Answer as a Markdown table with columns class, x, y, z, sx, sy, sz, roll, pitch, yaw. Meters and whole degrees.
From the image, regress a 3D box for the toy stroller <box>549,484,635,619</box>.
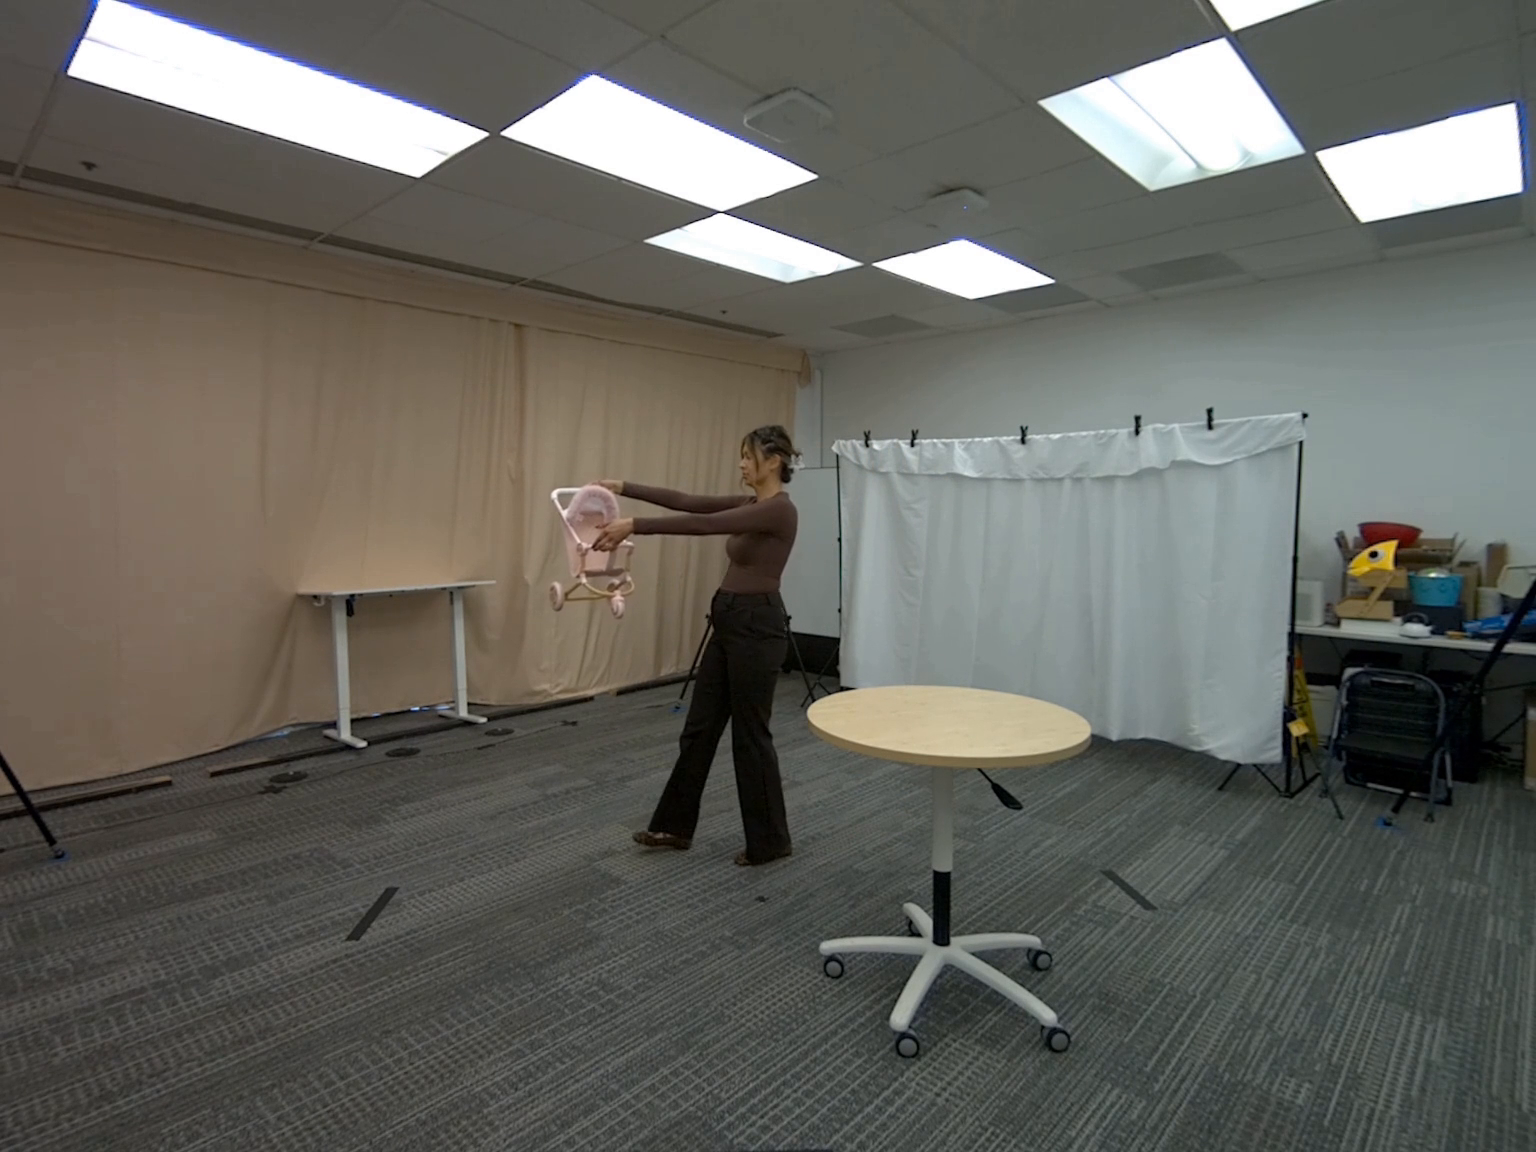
| class | x | y | z | sx | sy | sz | roll | pitch | yaw |
| --- | --- | --- | --- | --- | --- | --- | --- | --- | --- |
| toy stroller | -0.631 | -0.093 | 3.132 | 0.273 | 0.537 | 0.349 | -3 | -7 | -33 |
